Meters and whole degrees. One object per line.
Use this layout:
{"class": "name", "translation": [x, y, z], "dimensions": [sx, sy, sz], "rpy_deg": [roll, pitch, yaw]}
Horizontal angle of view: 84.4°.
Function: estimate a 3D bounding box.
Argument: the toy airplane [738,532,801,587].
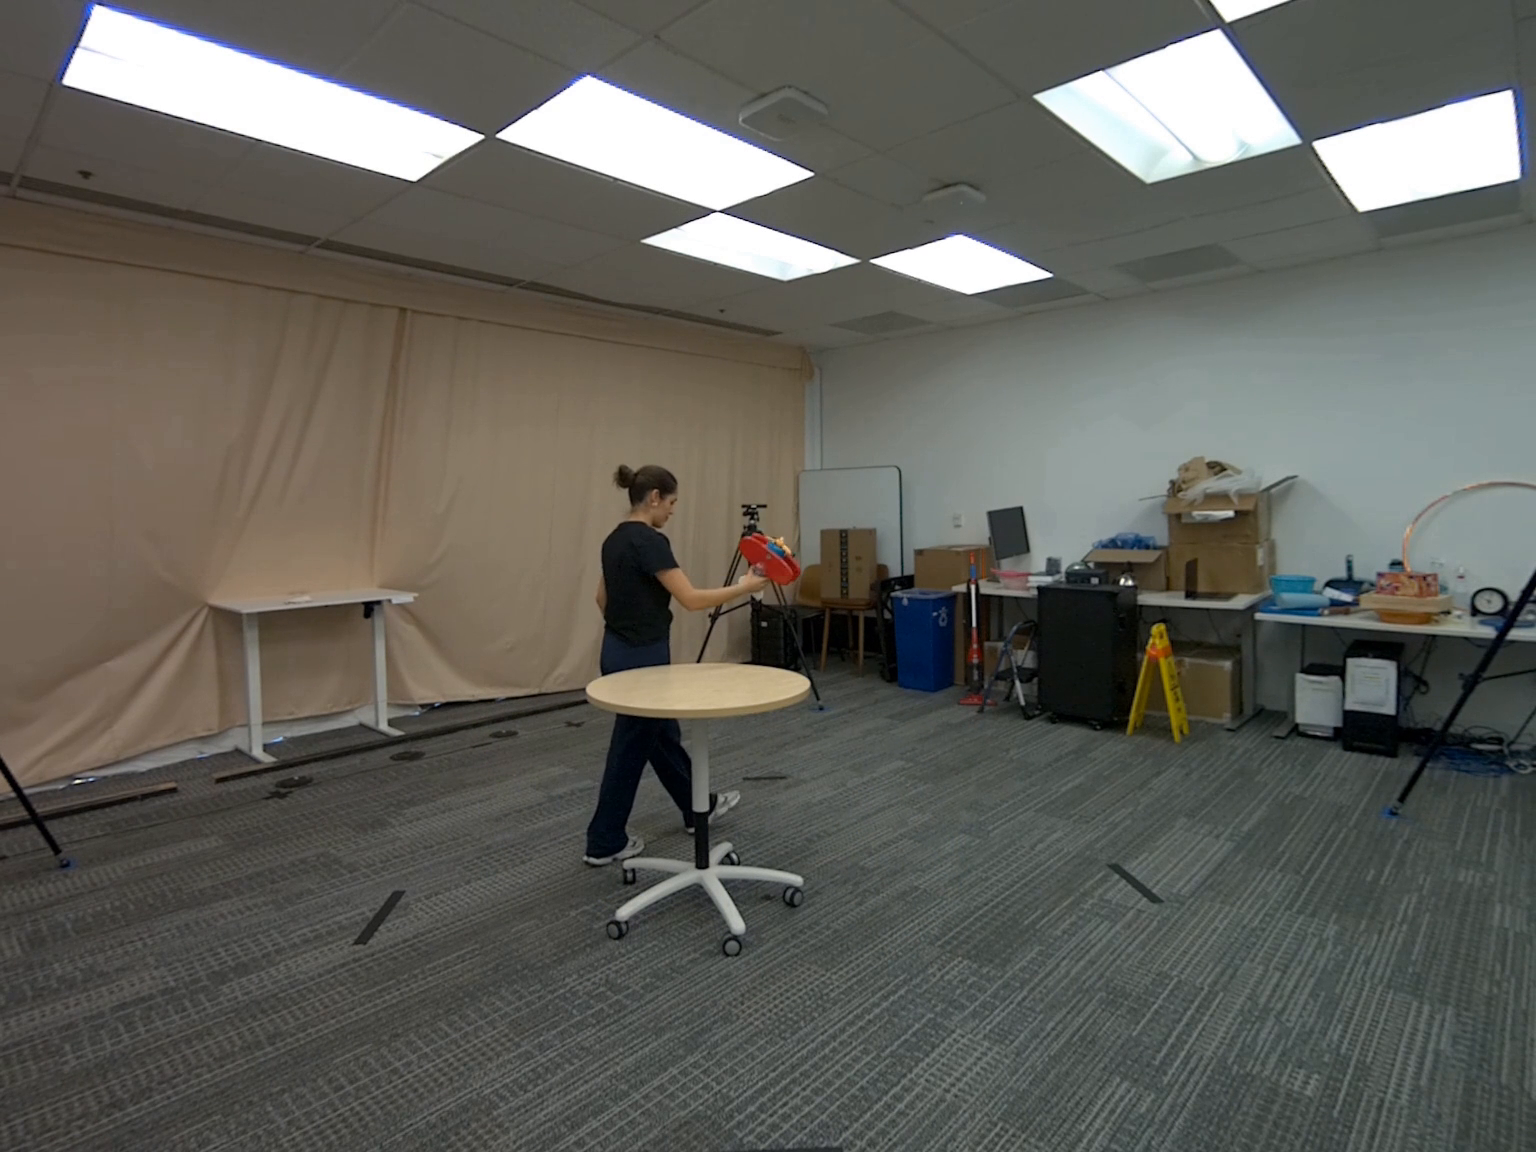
{"class": "toy airplane", "translation": [0.020, -0.027, 3.337], "dimensions": [0.256, 0.259, 0.154], "rpy_deg": [10, 4, 17]}
